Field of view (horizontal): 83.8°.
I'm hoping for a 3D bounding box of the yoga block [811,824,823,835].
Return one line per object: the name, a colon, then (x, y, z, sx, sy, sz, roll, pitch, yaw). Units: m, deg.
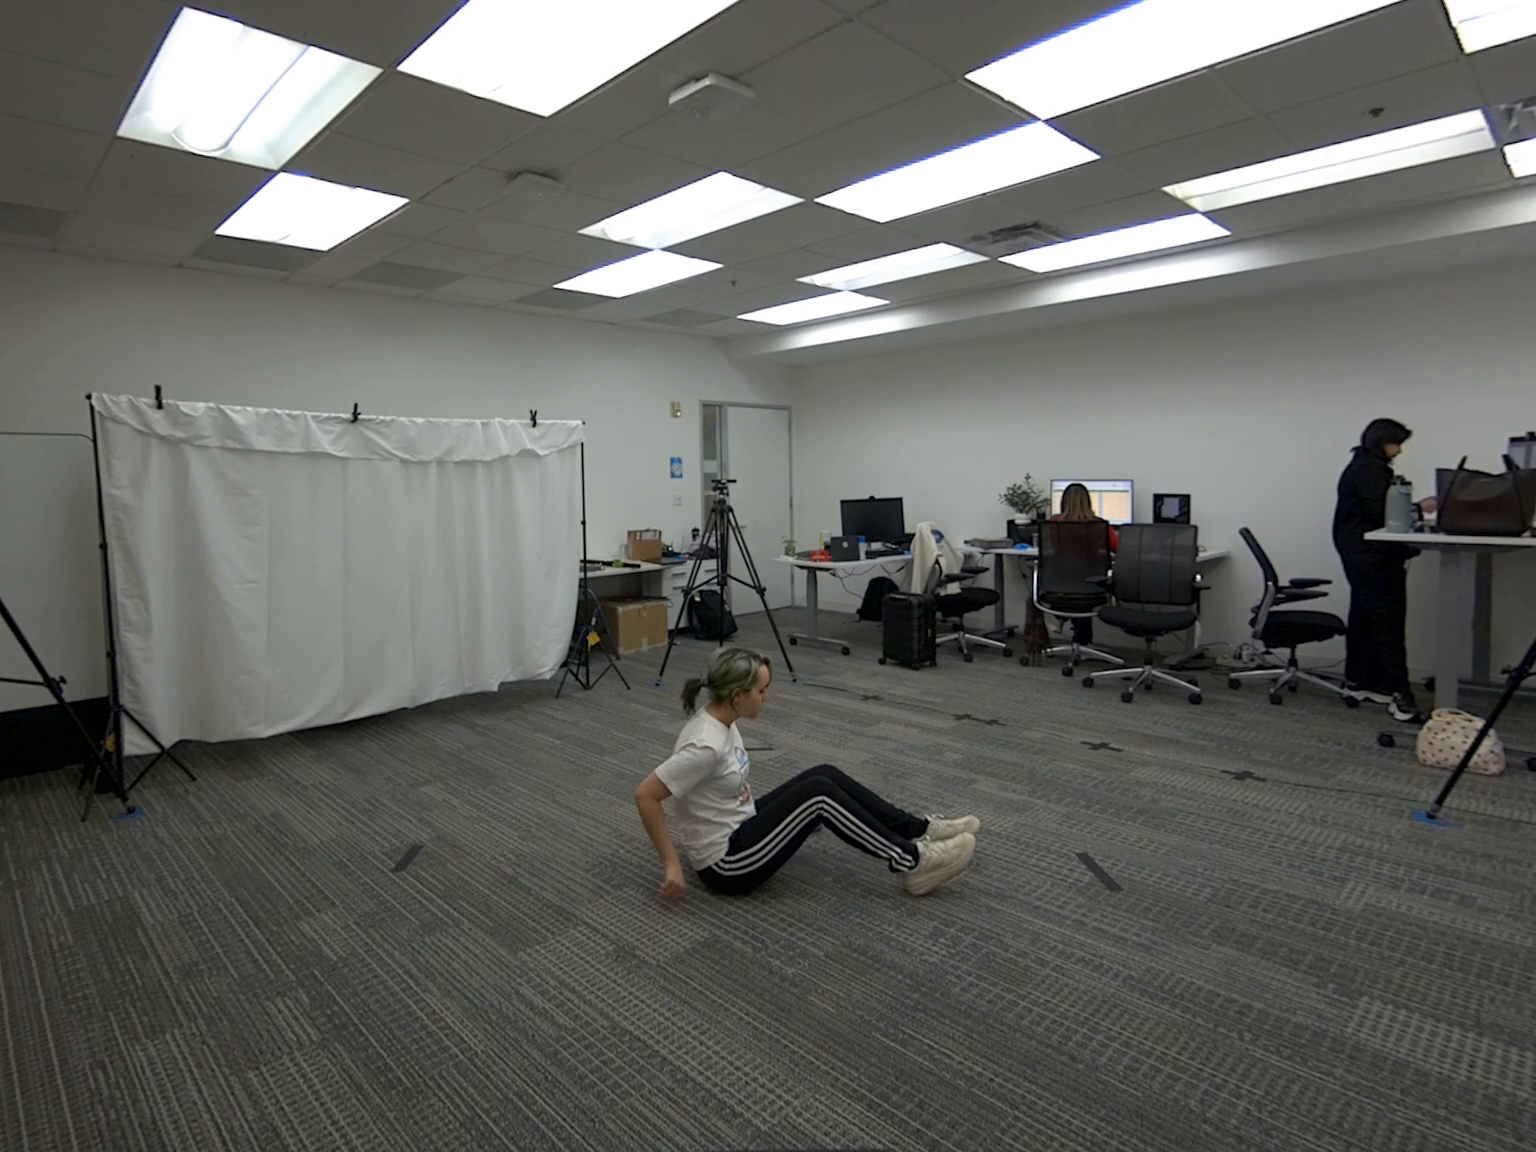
yoga block: (0.106, 0.968, 3.454, 0.145, 0.076, 0.236, -4, 6, -33)
